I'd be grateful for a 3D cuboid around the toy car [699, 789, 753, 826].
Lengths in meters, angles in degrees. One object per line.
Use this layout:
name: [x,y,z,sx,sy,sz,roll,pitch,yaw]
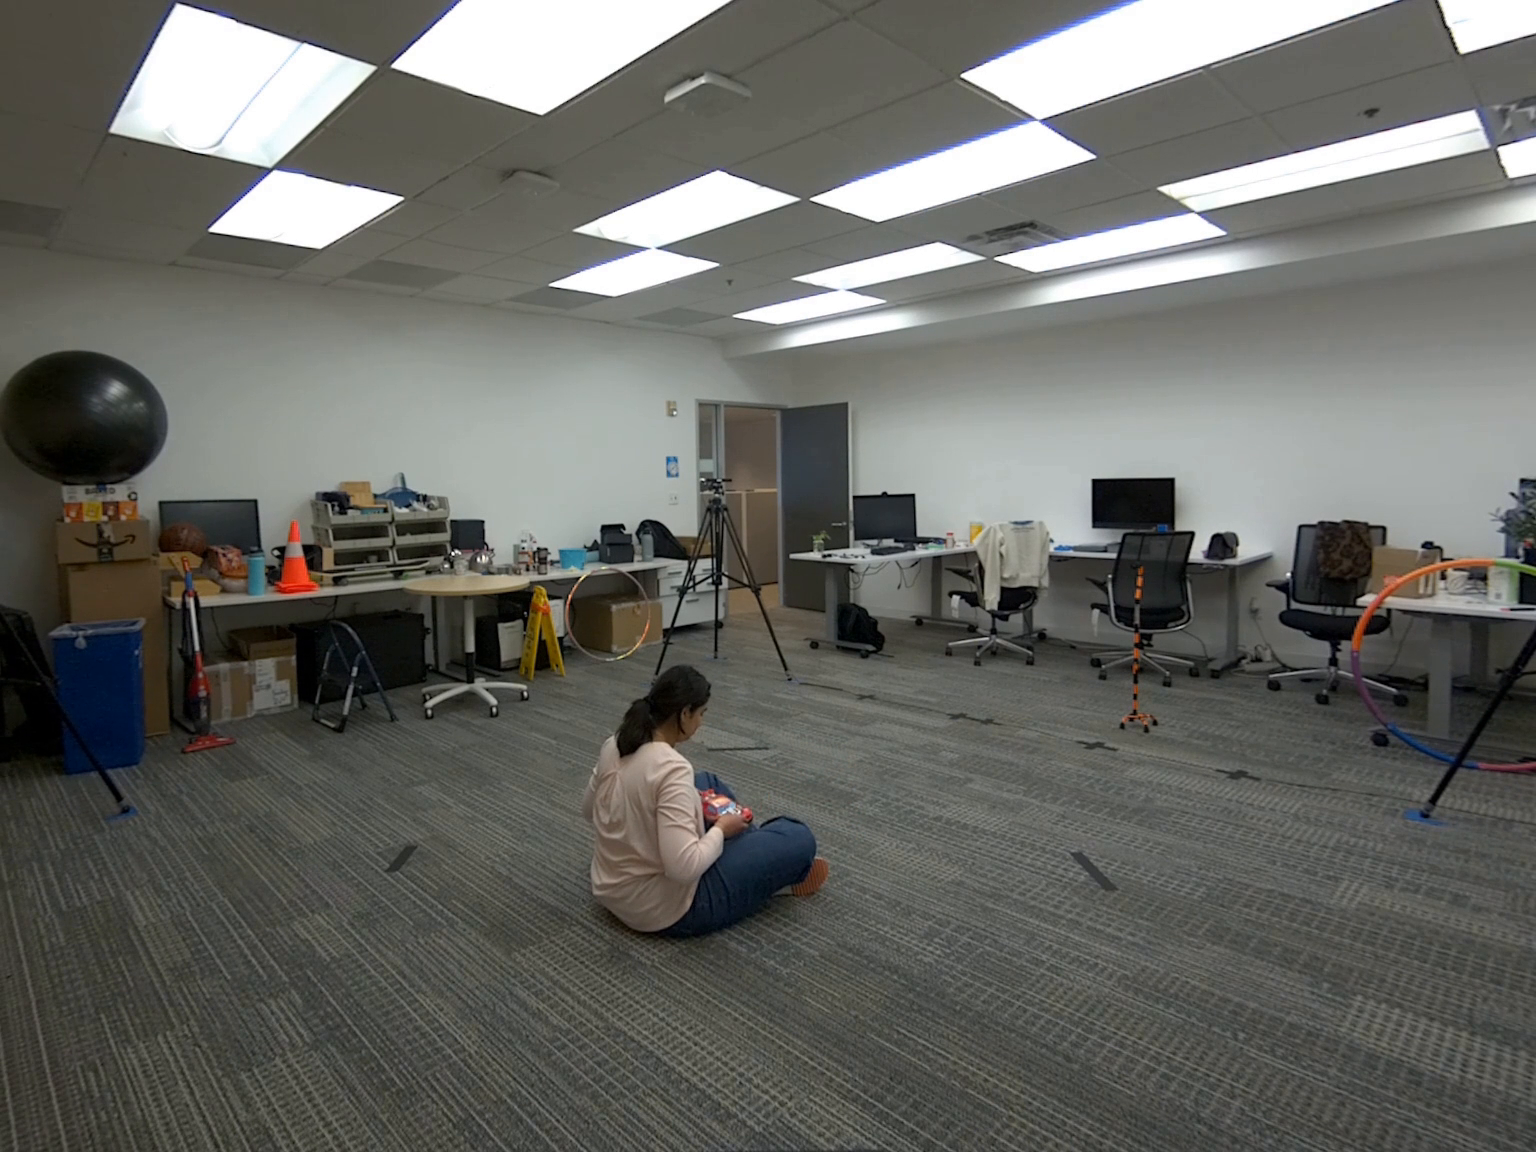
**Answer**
toy car: [-0.163,0.803,2.929,0.128,0.082,0.264,-17,25,-35]
